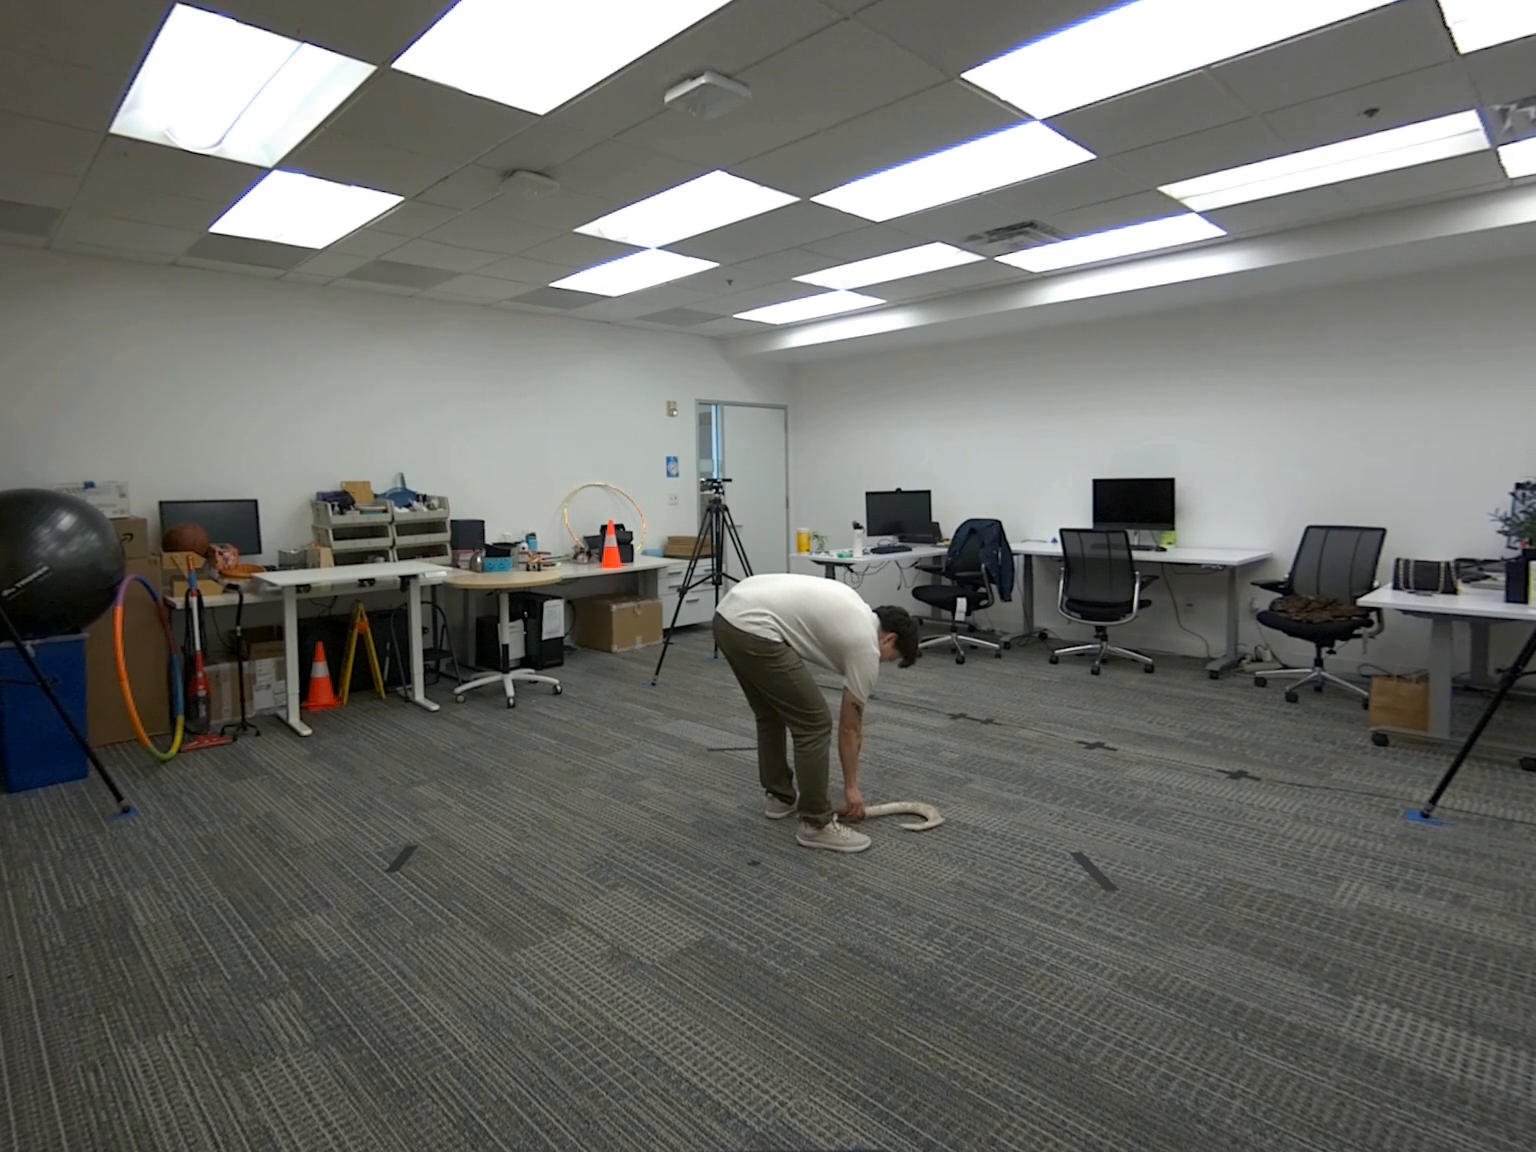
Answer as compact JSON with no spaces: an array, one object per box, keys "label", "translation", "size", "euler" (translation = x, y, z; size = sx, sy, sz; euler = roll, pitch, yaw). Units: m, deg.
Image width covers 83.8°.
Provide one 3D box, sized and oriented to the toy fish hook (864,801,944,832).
[{"label":"toy fish hook","translation":[0.452,0.962,3.443],"size":[0.503,0.048,0.227],"euler":[0,5,-7]}]
